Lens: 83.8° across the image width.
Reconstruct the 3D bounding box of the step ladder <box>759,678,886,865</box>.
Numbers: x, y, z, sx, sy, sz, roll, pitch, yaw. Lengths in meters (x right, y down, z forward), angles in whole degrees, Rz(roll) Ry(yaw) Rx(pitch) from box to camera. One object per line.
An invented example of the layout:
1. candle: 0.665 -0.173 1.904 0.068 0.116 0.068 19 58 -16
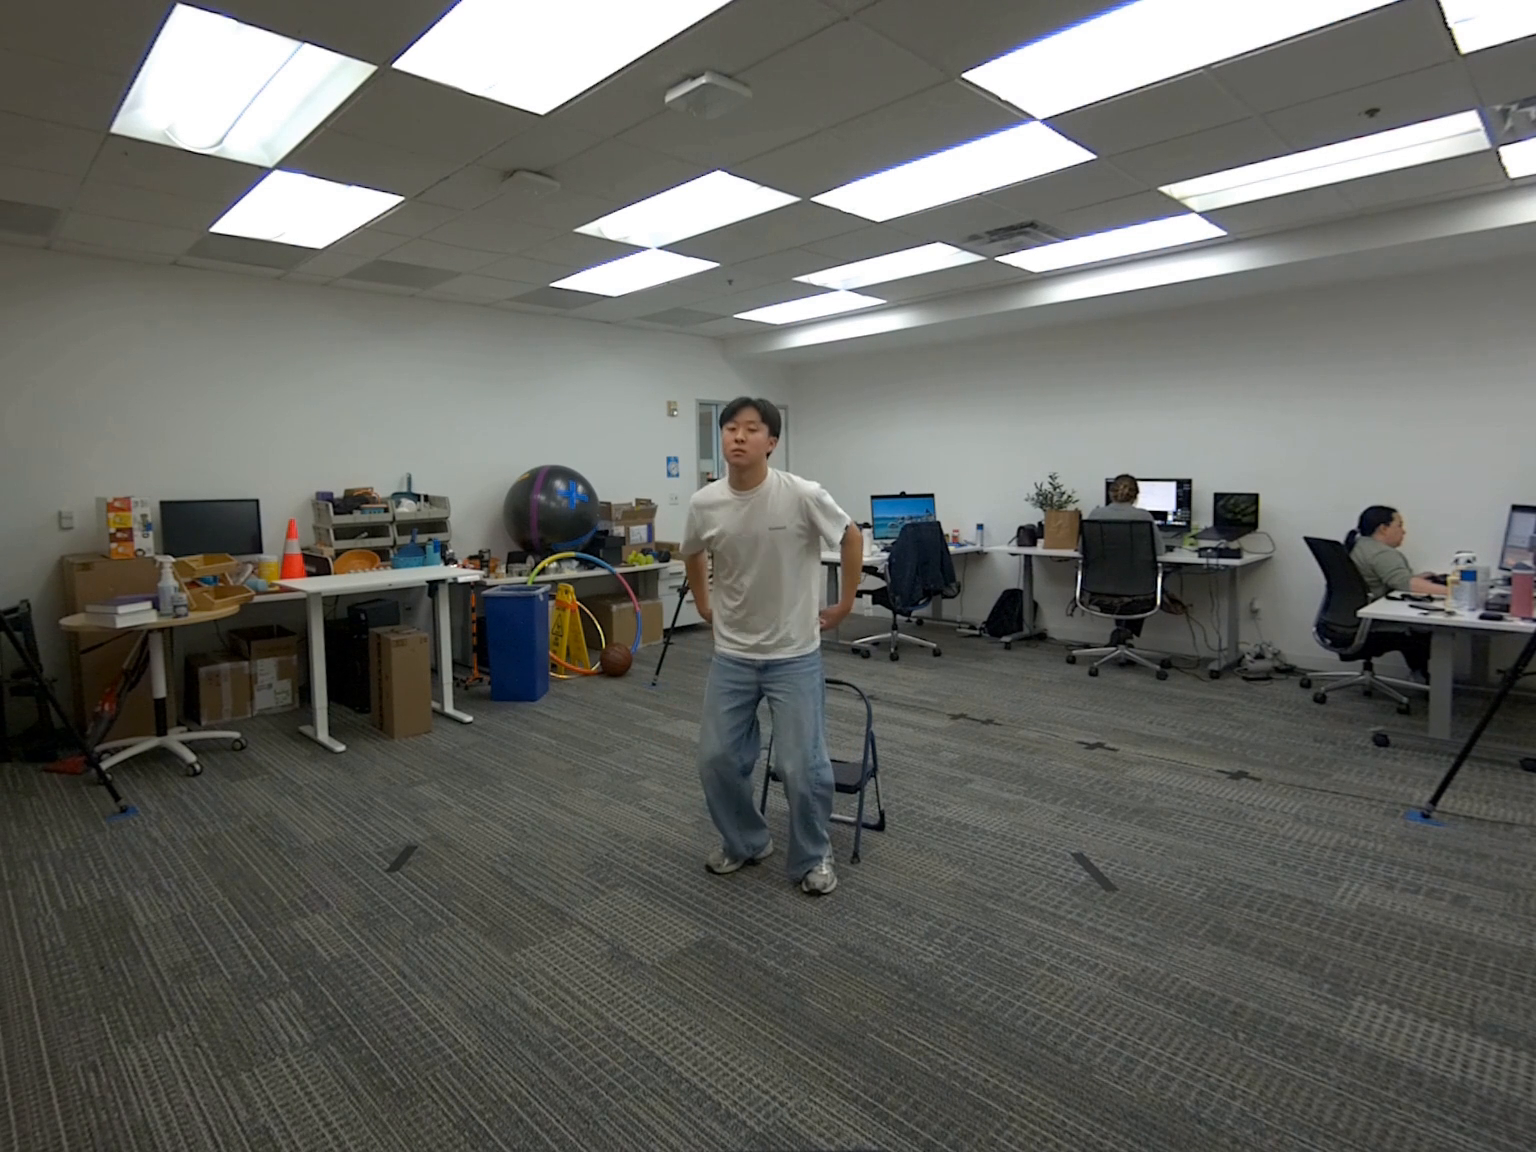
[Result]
1. step ladder: 0.211 0.713 3.322 0.441 0.604 0.342 2 5 28
